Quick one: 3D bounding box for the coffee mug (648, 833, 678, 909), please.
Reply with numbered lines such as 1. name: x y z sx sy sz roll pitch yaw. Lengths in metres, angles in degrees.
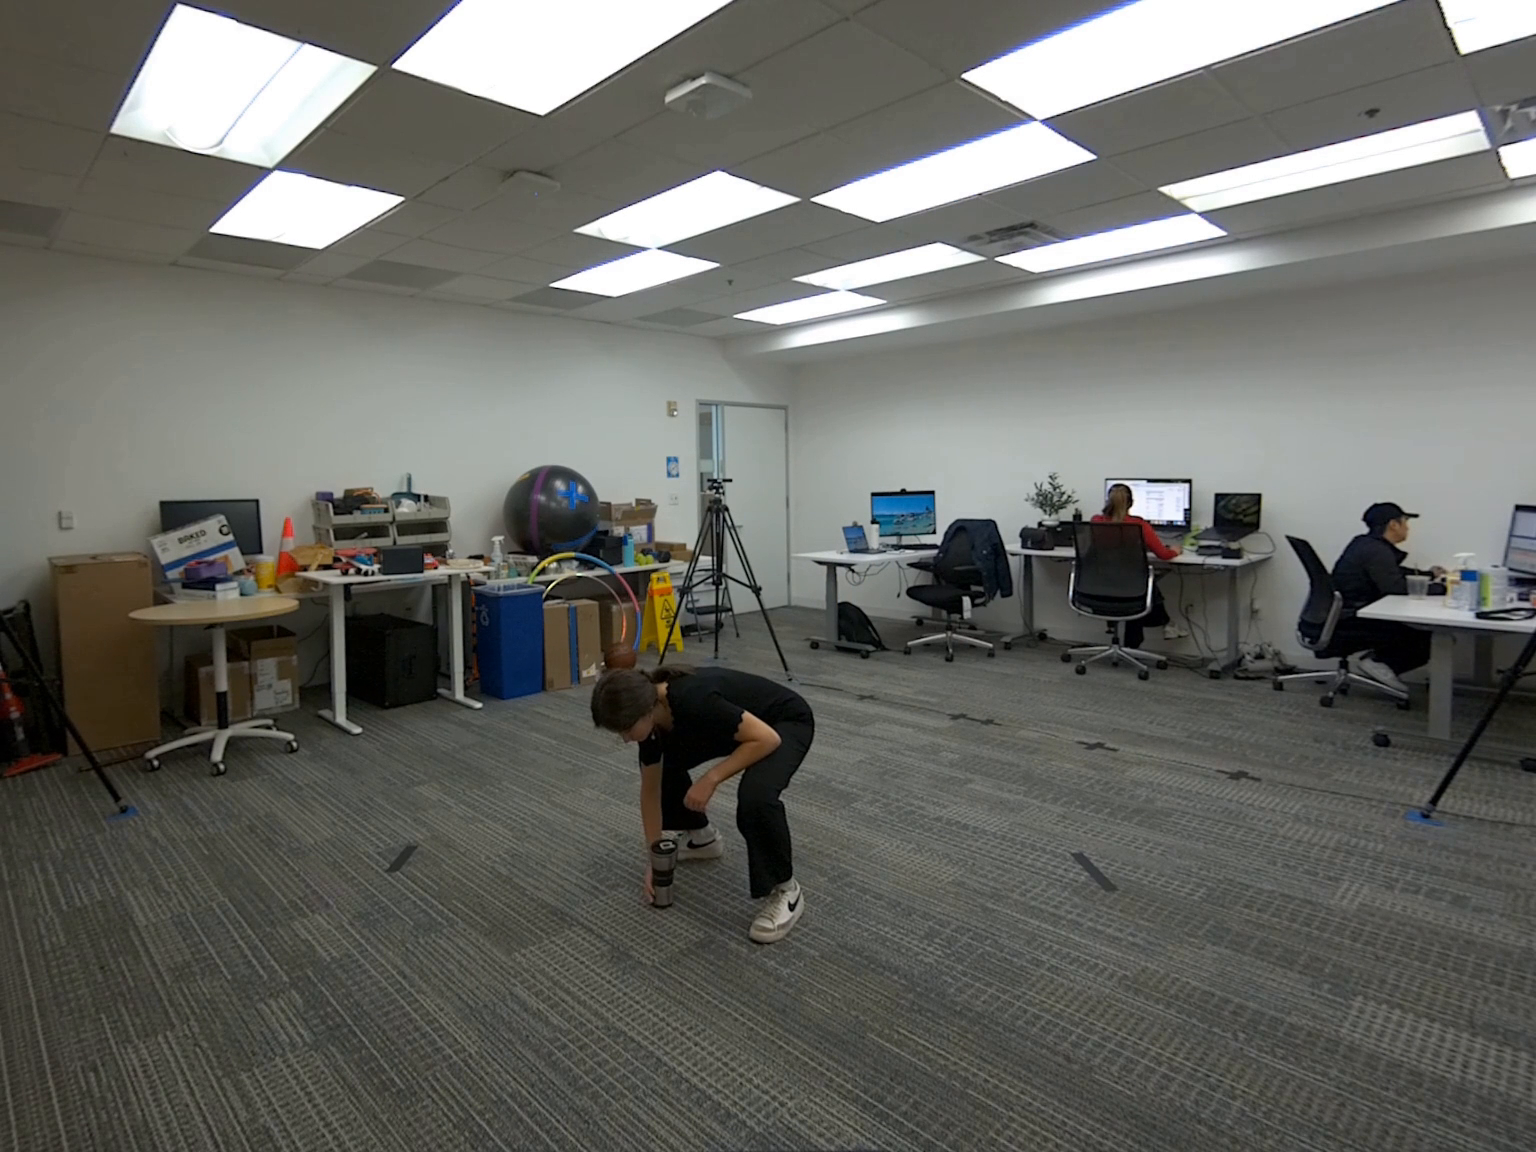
1. coffee mug: -0.327 0.991 2.822 0.091 0.201 0.119 6 10 43
